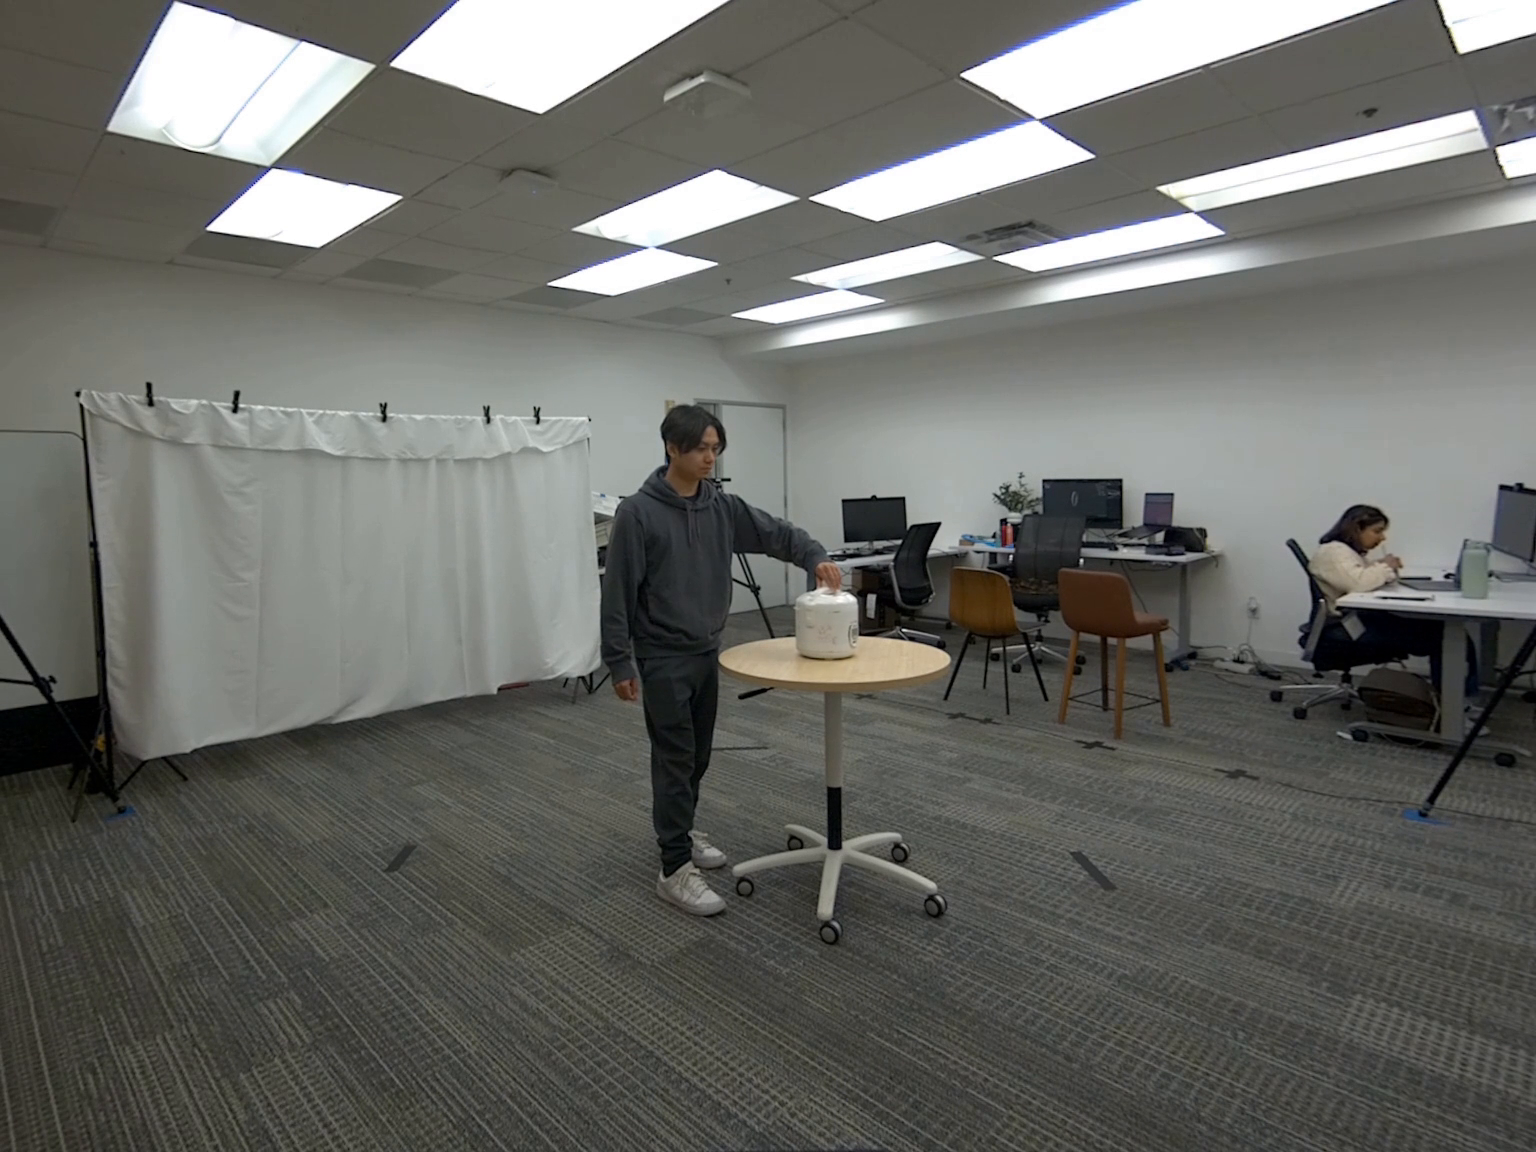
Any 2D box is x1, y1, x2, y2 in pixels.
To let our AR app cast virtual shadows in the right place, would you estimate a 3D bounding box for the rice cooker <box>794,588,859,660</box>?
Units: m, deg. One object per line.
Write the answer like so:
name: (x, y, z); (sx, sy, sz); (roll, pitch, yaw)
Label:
rice cooker: (0.197, 0.150, 2.873); (0.224, 0.232, 0.215); (1, 5, 39)
